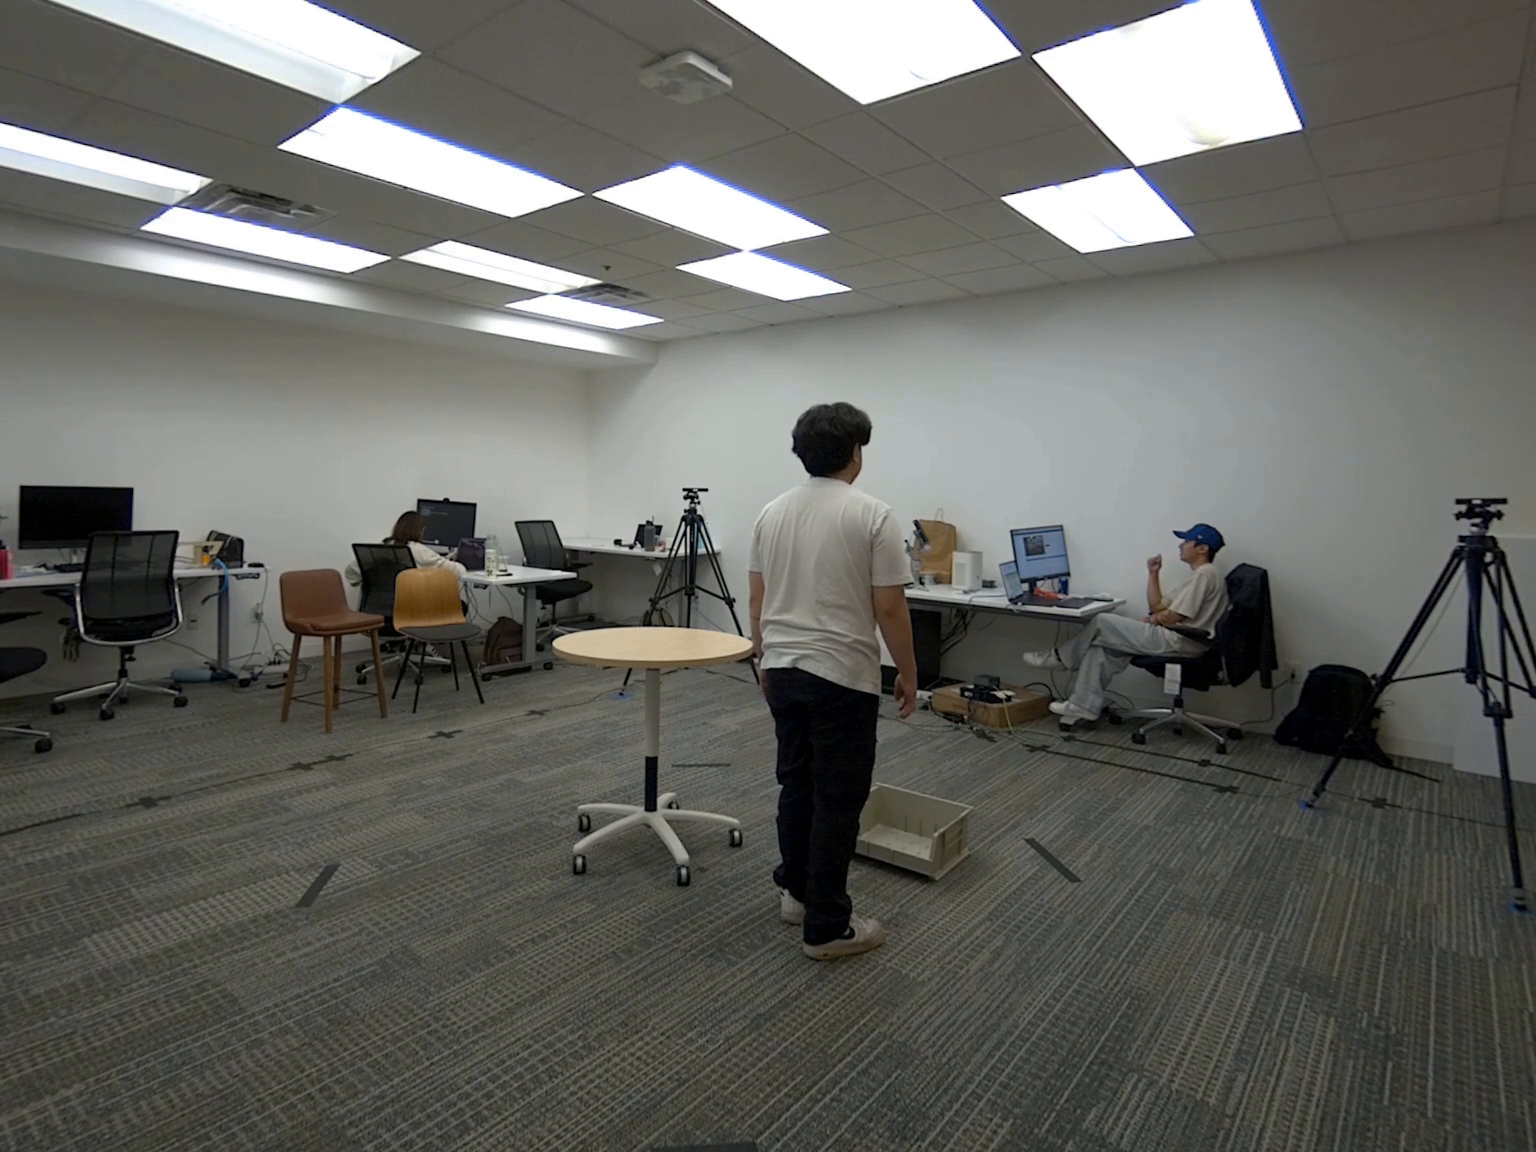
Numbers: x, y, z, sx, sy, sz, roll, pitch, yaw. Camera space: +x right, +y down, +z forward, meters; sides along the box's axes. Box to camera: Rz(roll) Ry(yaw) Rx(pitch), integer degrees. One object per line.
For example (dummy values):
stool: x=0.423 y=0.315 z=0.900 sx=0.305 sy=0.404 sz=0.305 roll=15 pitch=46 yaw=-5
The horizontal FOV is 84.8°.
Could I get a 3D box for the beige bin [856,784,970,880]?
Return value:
beige bin: x=0.518 y=0.984 z=3.291 sx=0.436 sy=0.188 sz=0.366 roll=4 pitch=5 yaw=36
